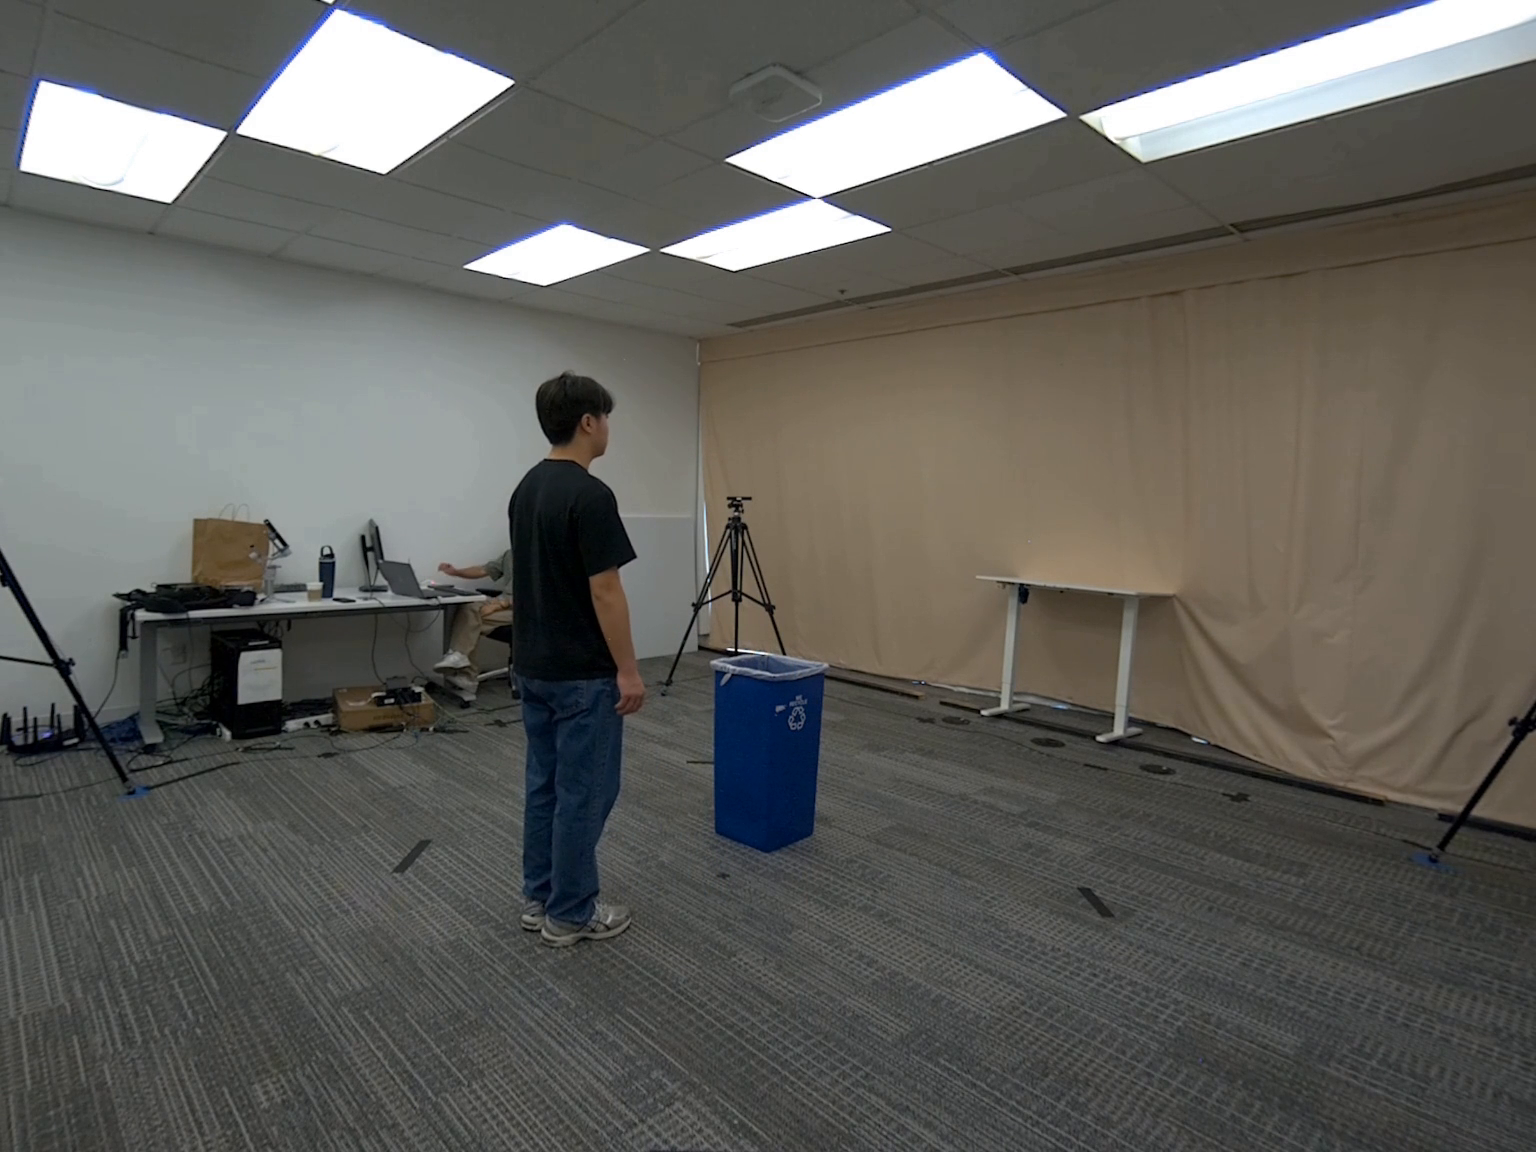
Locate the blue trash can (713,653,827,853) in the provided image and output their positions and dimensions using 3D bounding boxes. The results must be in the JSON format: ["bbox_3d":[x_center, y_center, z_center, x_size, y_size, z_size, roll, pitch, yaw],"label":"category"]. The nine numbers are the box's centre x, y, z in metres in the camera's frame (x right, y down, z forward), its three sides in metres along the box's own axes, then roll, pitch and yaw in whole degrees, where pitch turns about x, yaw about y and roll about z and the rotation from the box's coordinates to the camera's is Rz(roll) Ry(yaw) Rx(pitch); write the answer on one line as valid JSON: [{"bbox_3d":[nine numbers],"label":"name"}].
[{"bbox_3d":[-0.009,0.717,3.508,0.388,0.712,0.365,5,5,42],"label":"blue trash can"}]
